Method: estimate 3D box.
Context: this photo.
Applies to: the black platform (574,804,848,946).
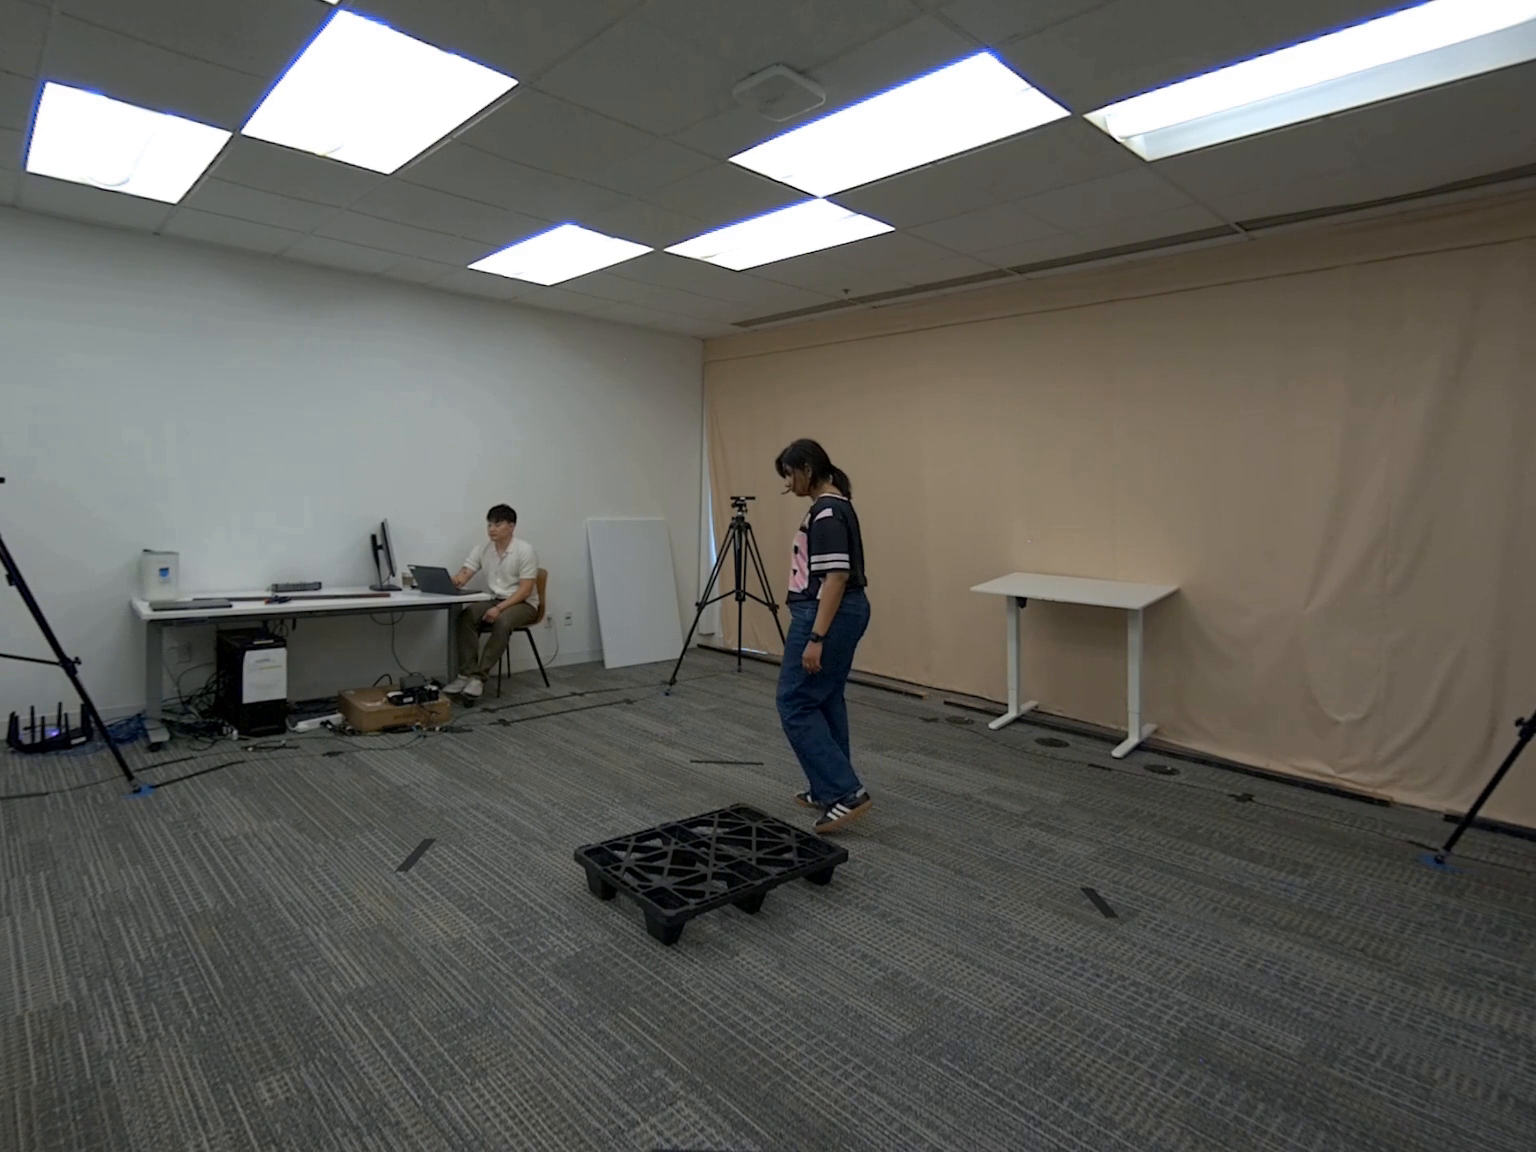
[{"bbox_3d":[-0.212,1.047,3.004,0.787,0.143,0.620,-3,6,-40],"label":"black platform"}]
